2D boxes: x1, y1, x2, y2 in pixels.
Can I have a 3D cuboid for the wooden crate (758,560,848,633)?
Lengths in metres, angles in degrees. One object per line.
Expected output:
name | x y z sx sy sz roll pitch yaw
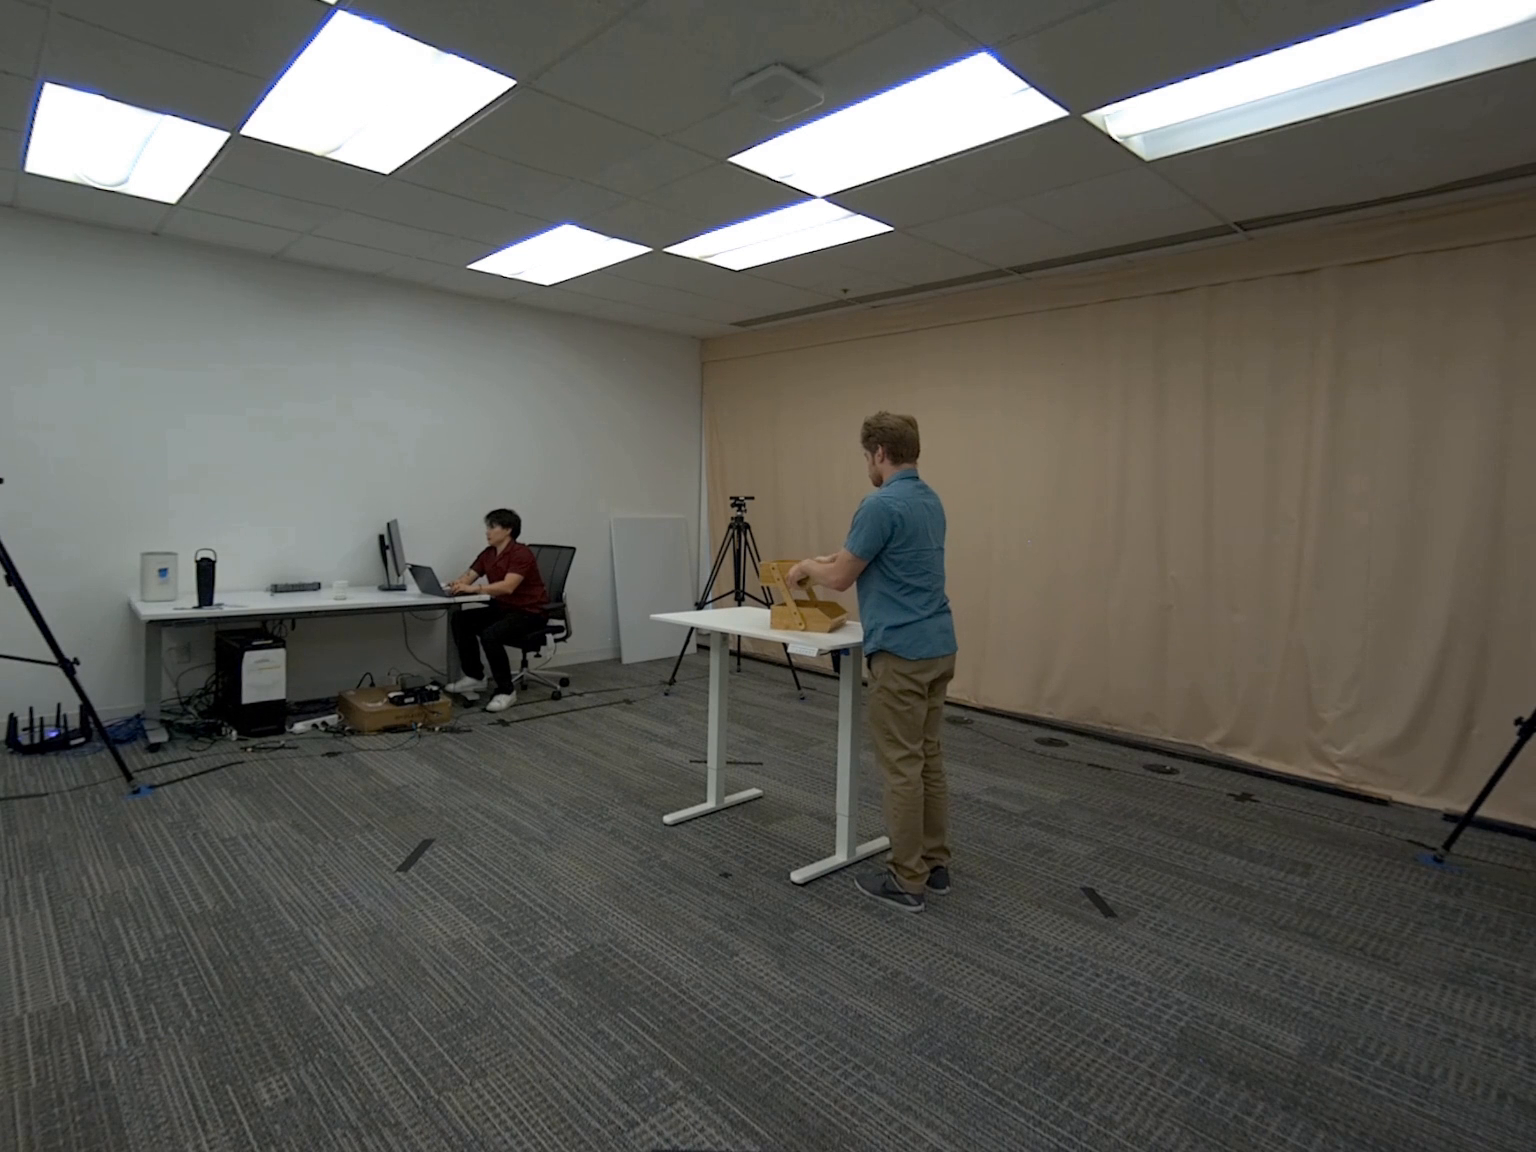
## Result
wooden crate | 0.151 0.076 3.390 0.306 0.273 0.320 1 2 17
